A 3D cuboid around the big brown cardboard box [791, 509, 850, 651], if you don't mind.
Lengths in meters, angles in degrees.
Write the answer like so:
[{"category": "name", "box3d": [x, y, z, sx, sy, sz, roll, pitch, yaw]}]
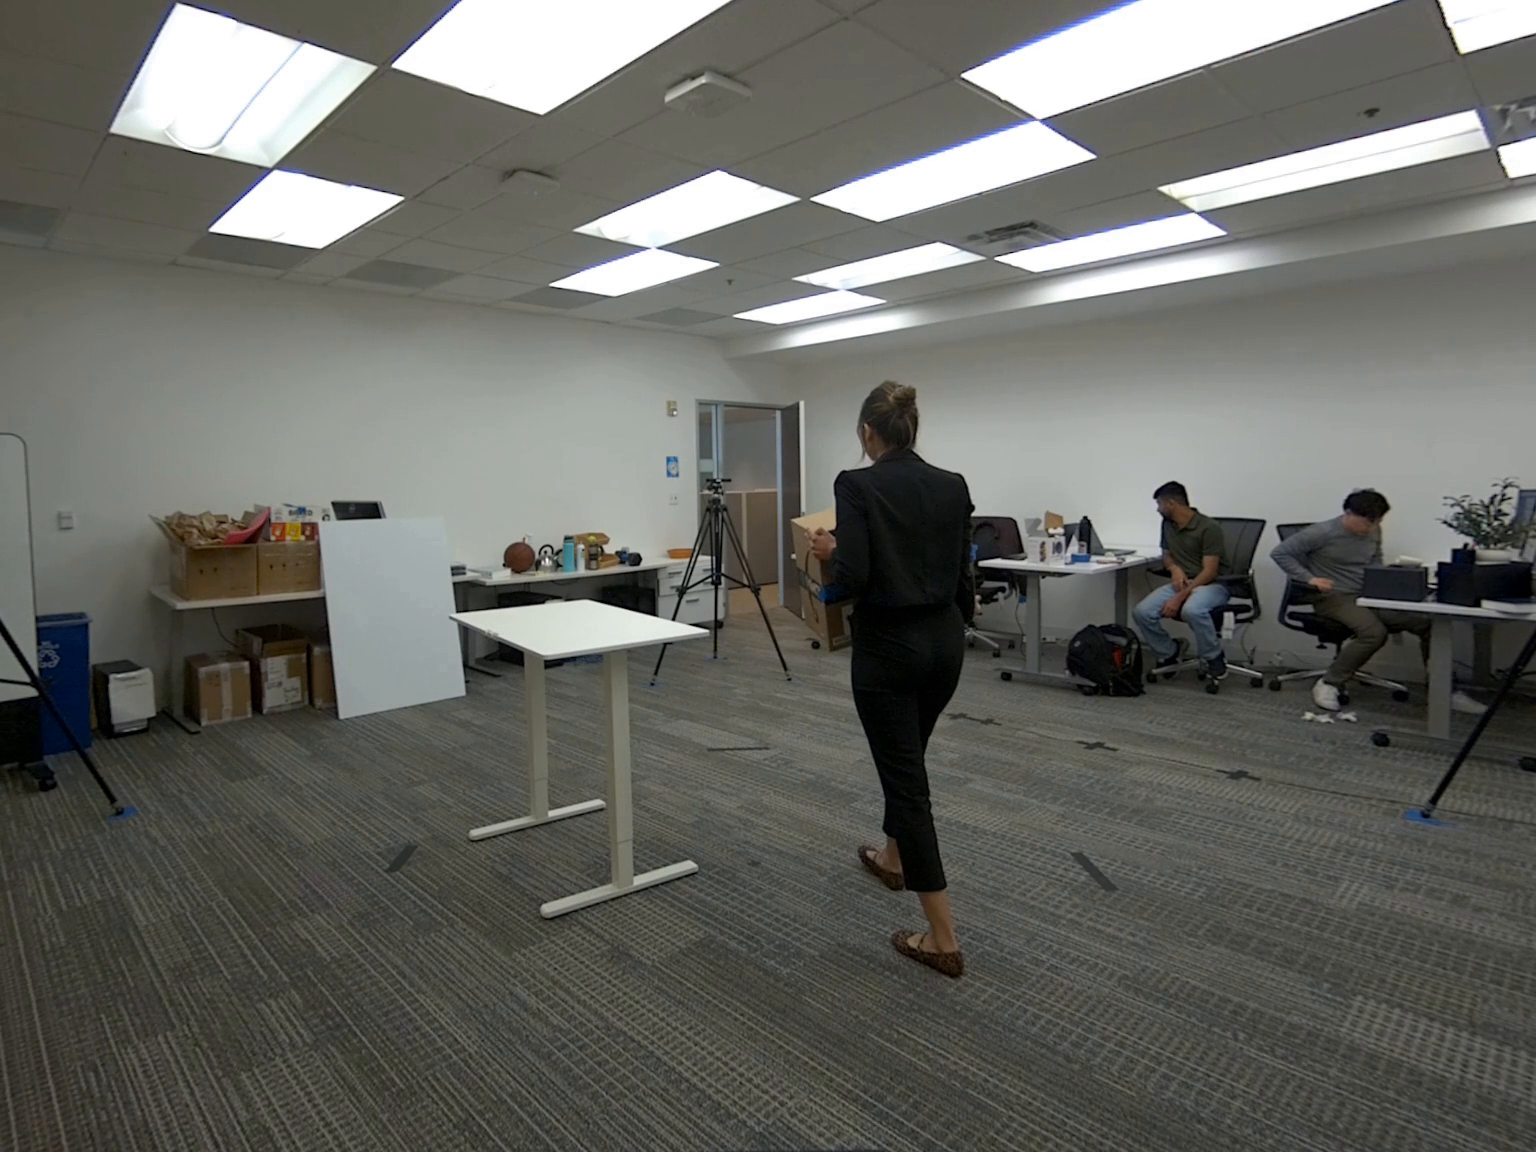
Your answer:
[{"category": "big brown cardboard box", "box3d": [0.400, -0.046, 2.941, 0.583, 0.410, 0.240, -16, 18, -14]}]
